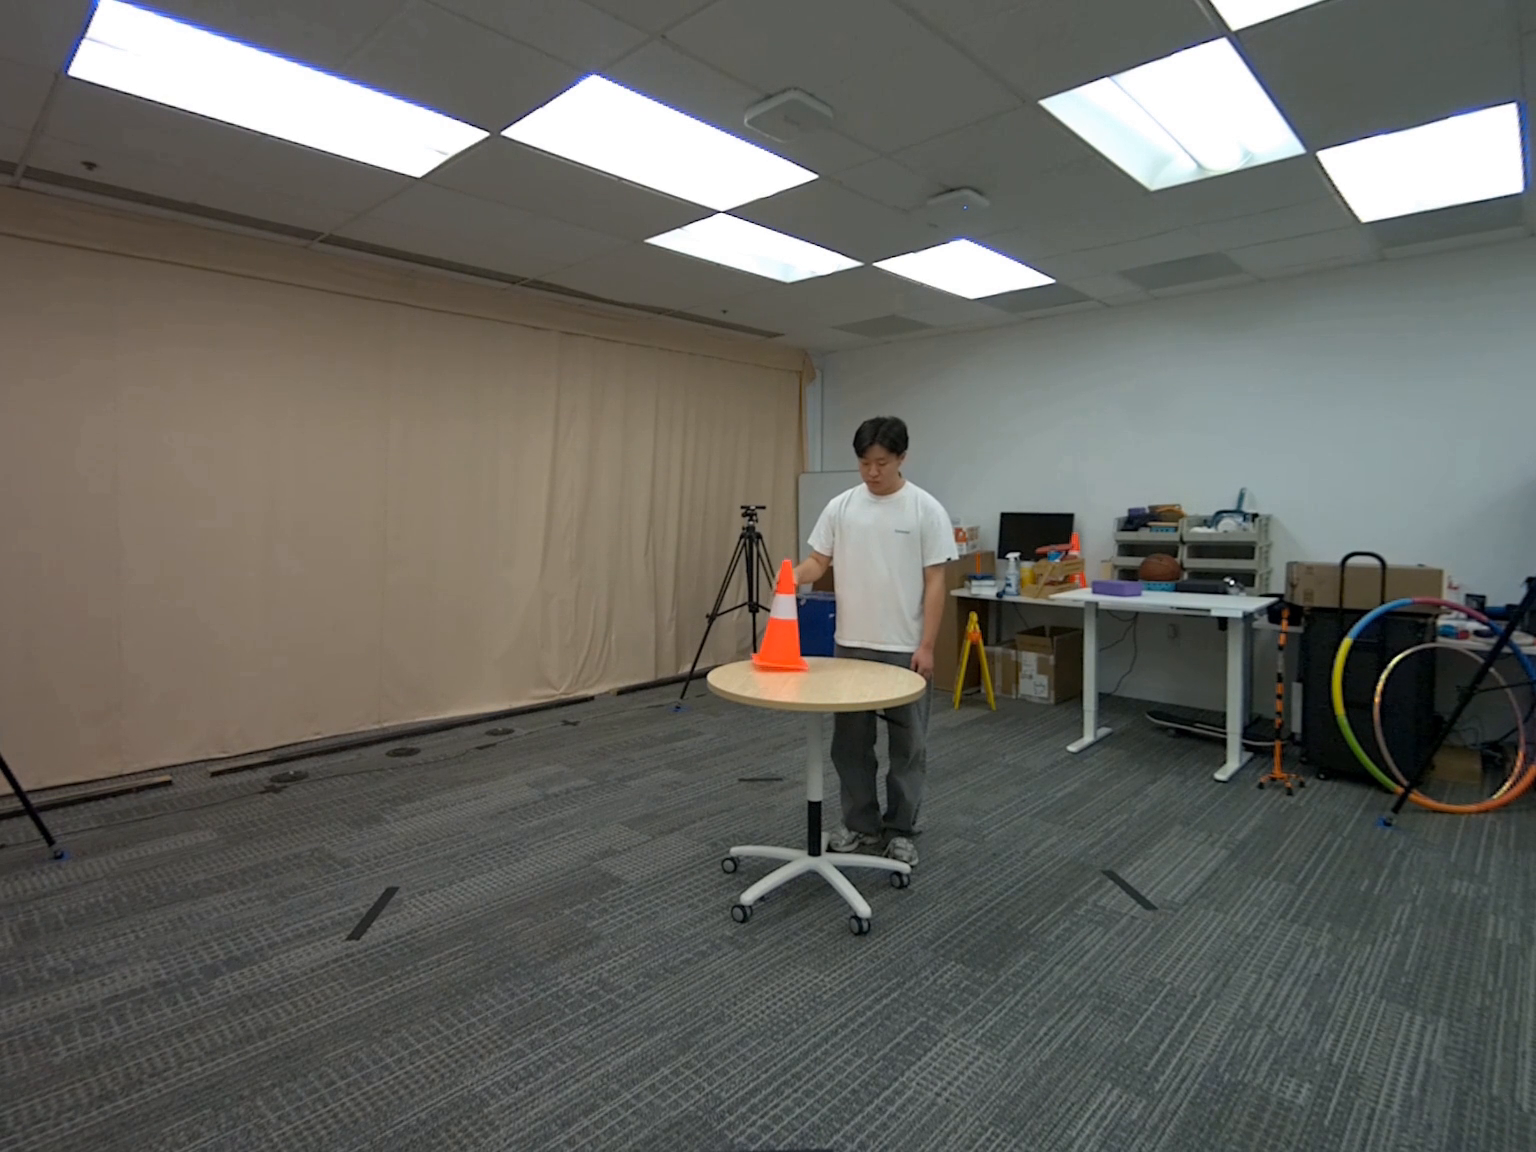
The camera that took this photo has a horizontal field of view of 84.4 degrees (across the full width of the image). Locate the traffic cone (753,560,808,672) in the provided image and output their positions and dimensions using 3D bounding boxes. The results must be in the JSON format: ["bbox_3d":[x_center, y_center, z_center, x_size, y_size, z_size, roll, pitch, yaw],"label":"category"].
[{"bbox_3d":[0.073,0.130,3.140,0.206,0.383,0.203,3,5,3],"label":"traffic cone"}]
